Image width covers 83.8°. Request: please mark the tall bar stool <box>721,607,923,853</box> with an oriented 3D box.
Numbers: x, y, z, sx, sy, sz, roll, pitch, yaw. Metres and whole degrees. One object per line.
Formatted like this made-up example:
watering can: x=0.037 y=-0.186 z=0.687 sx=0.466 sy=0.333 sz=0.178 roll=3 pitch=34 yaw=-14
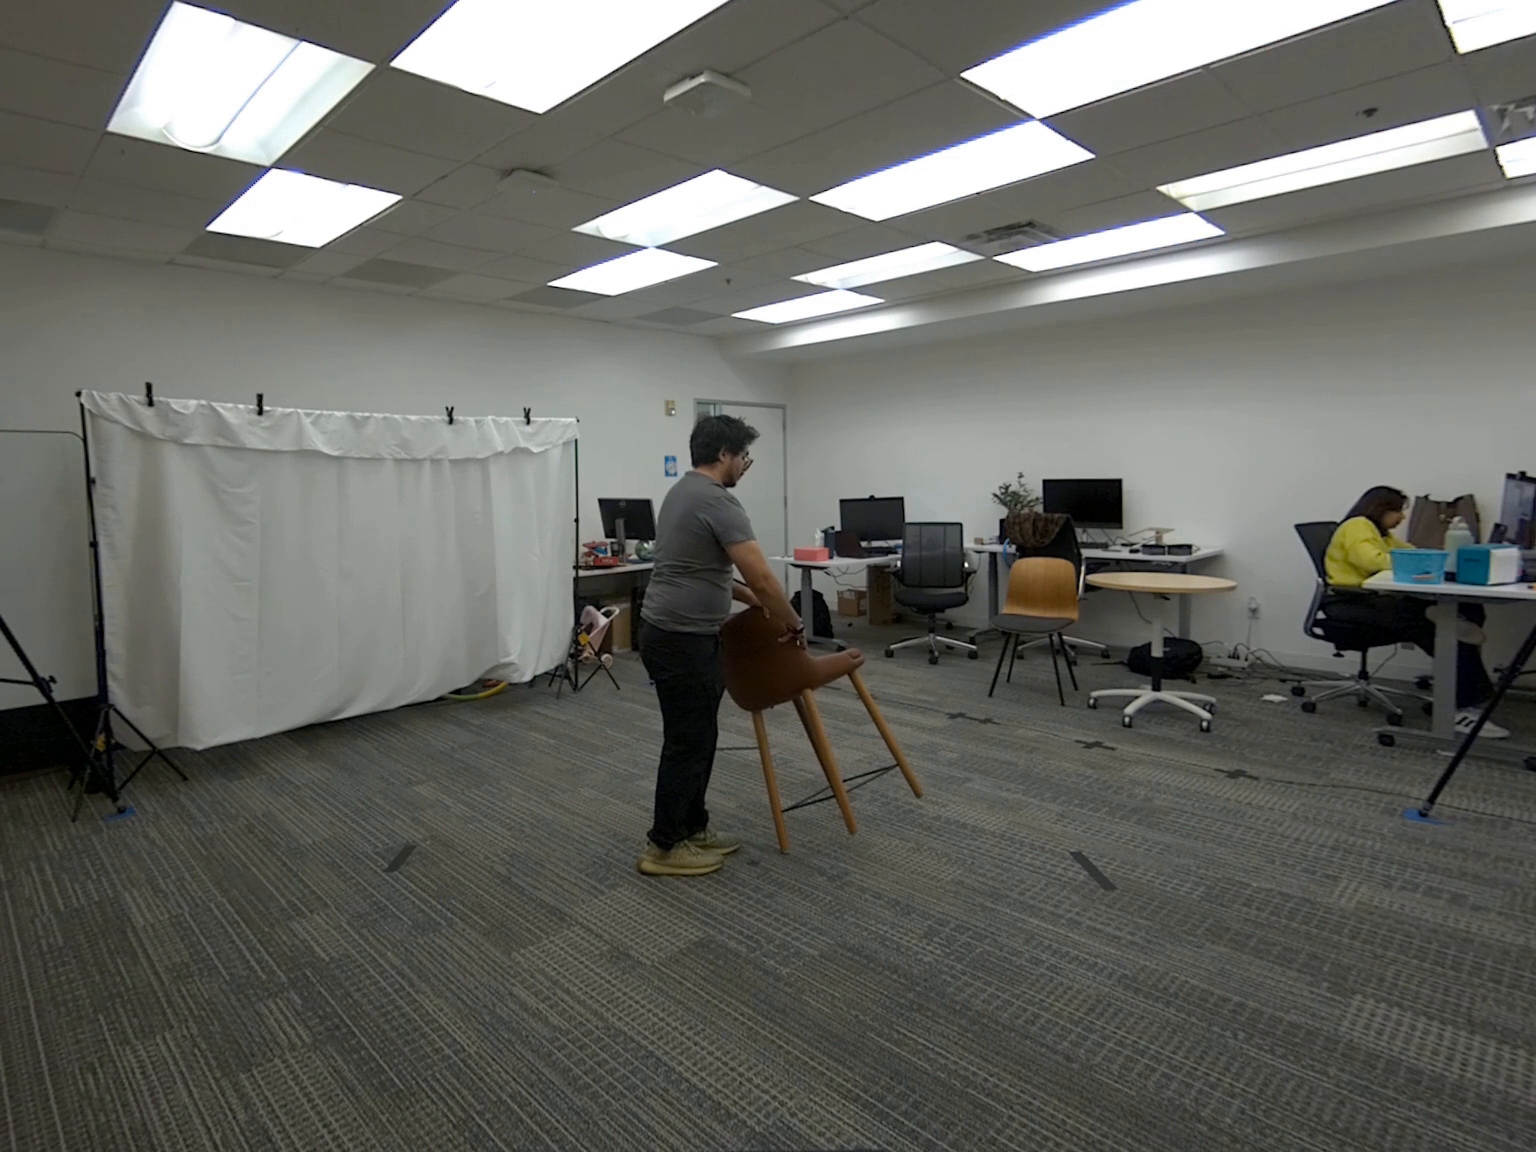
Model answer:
tall bar stool: x=0.155 y=0.542 z=3.327 sx=0.456 sy=0.902 sz=0.461 roll=-11 pitch=-16 yaw=-47
